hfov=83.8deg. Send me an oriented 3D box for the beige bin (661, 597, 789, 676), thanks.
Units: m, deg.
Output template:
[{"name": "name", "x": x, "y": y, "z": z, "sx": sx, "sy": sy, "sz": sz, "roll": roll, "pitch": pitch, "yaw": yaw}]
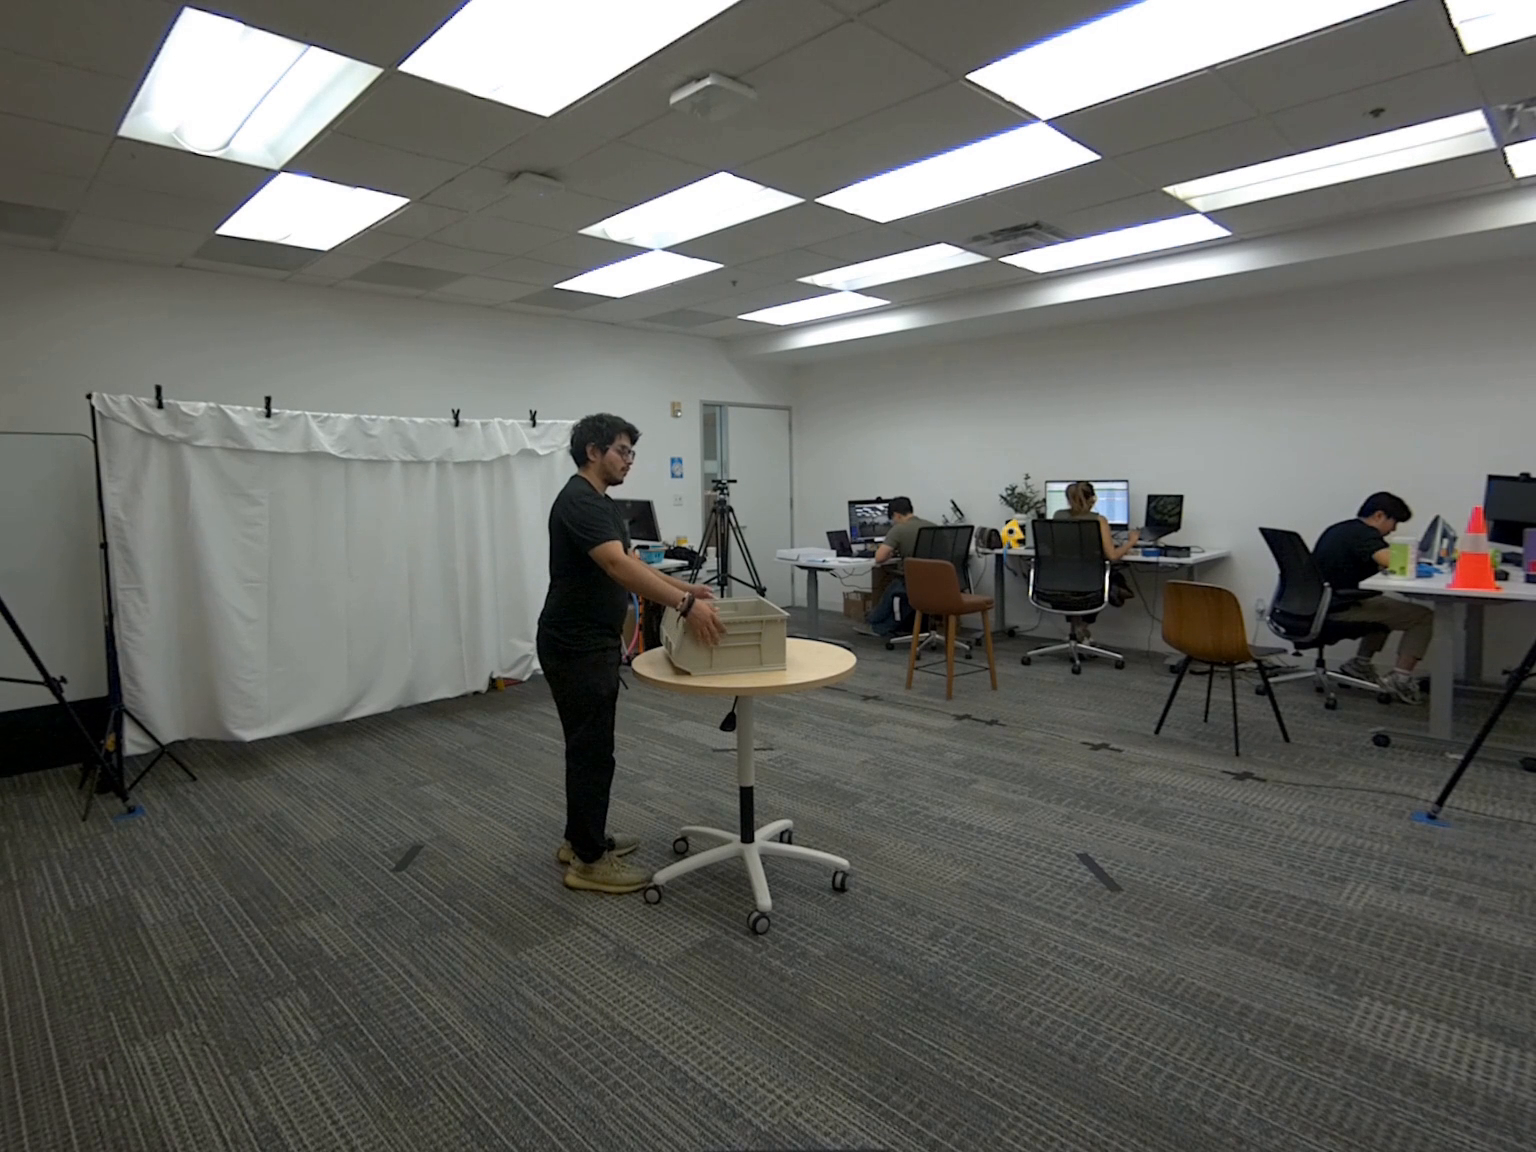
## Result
[{"name": "beige bin", "x": -0.155, "y": 0.191, "z": 2.916, "sx": 0.373, "sy": 0.188, "sz": 0.428, "roll": 0, "pitch": 4, "yaw": -12}]
